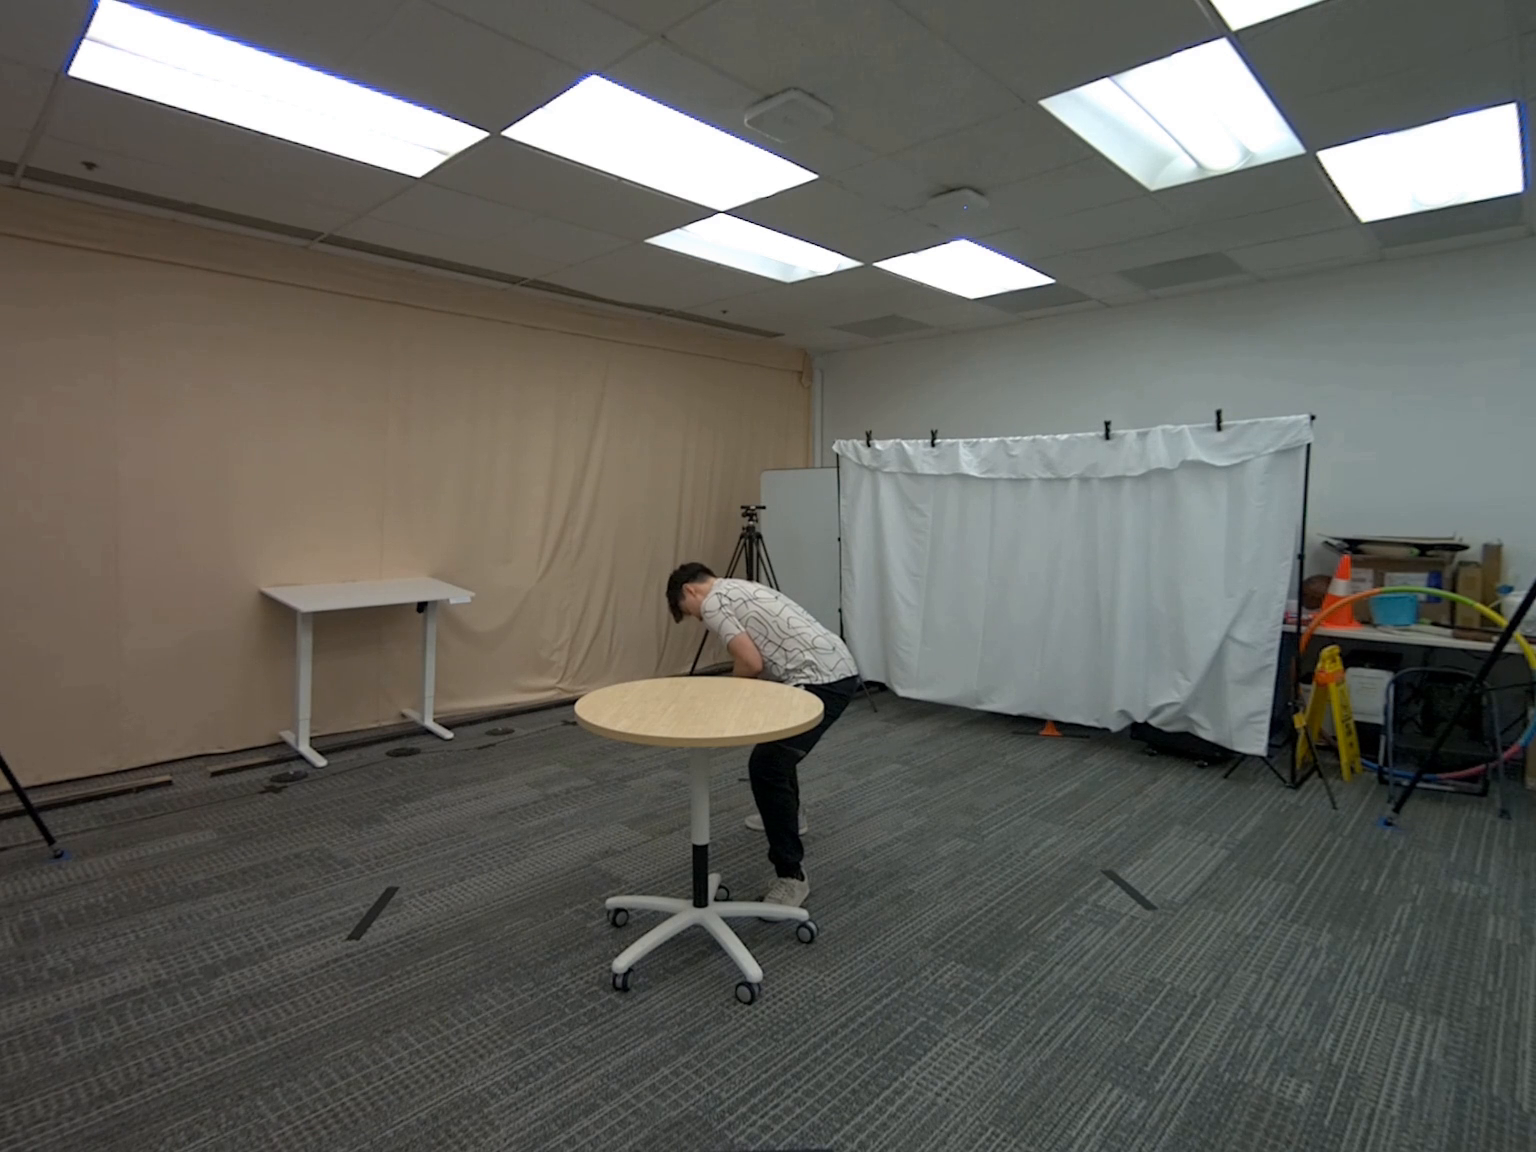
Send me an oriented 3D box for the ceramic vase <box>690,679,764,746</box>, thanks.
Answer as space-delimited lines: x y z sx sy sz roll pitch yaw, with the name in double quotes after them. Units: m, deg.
-0.167 0.543 3.395 0.227 0.158 0.131 23 14 29 "ceramic vase"
